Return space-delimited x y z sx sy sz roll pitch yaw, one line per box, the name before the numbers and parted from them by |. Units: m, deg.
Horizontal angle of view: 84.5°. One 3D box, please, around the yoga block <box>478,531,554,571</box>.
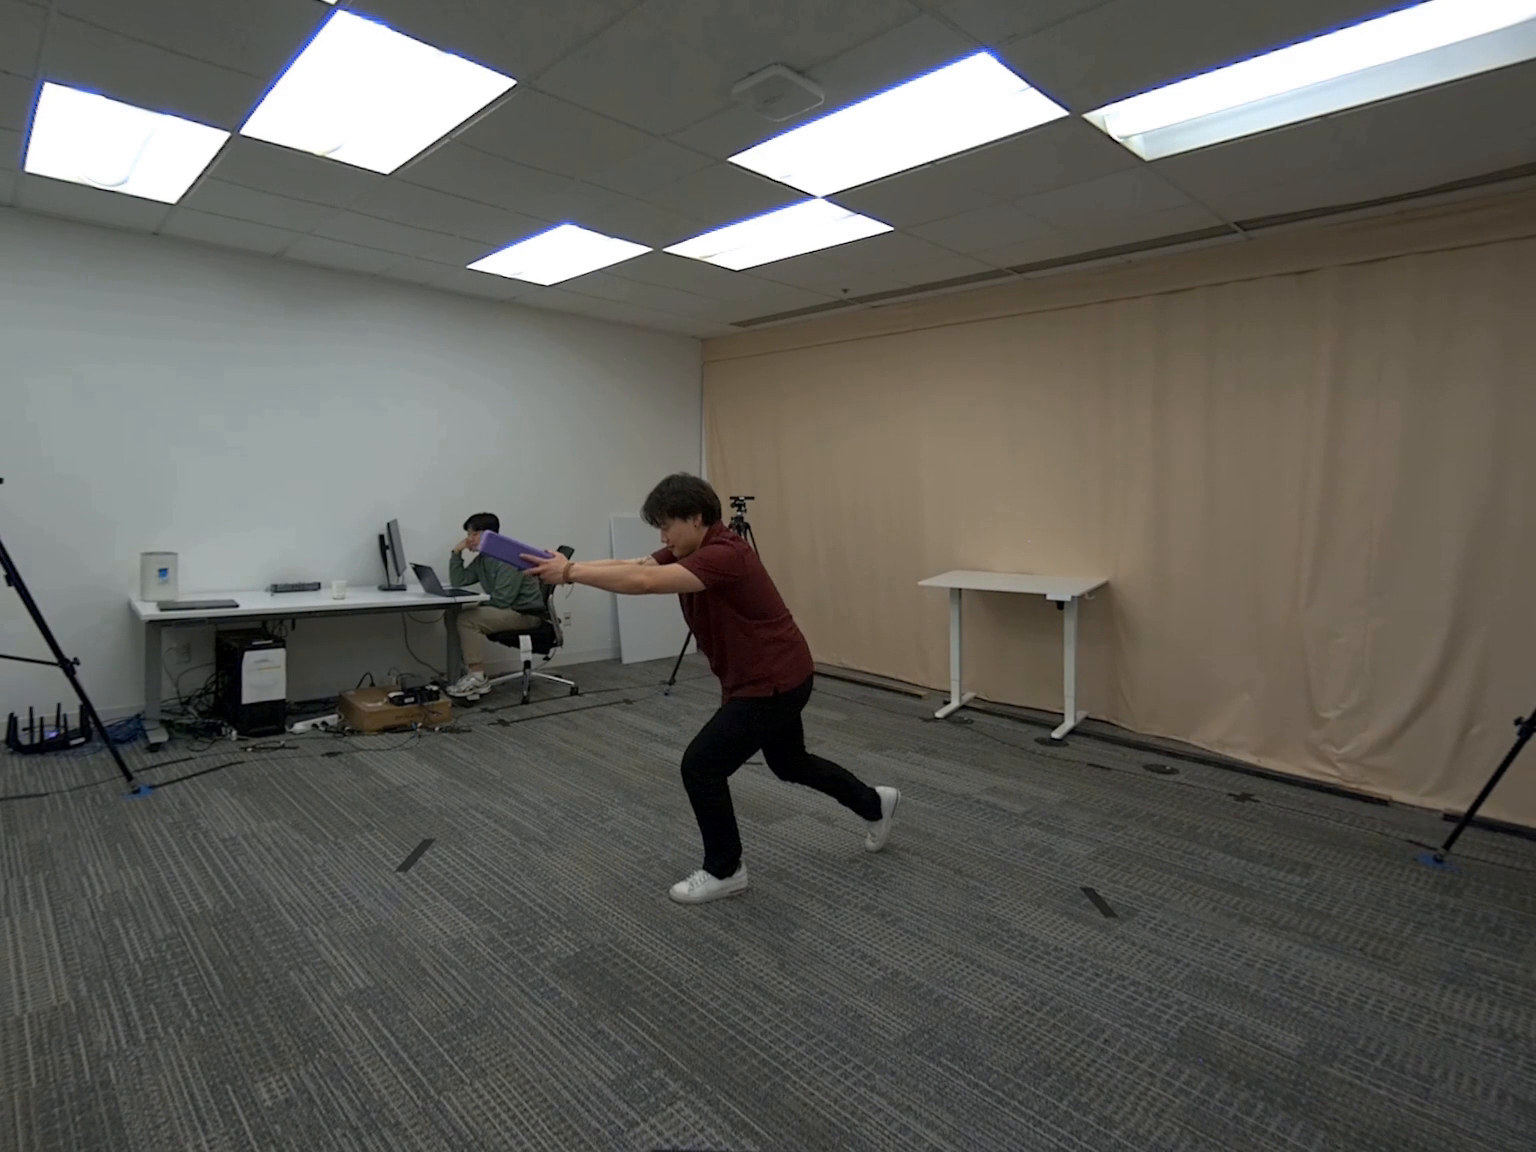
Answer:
yoga block | -0.802 -0.065 2.679 0.225 0.076 0.152 23 -4 -21
